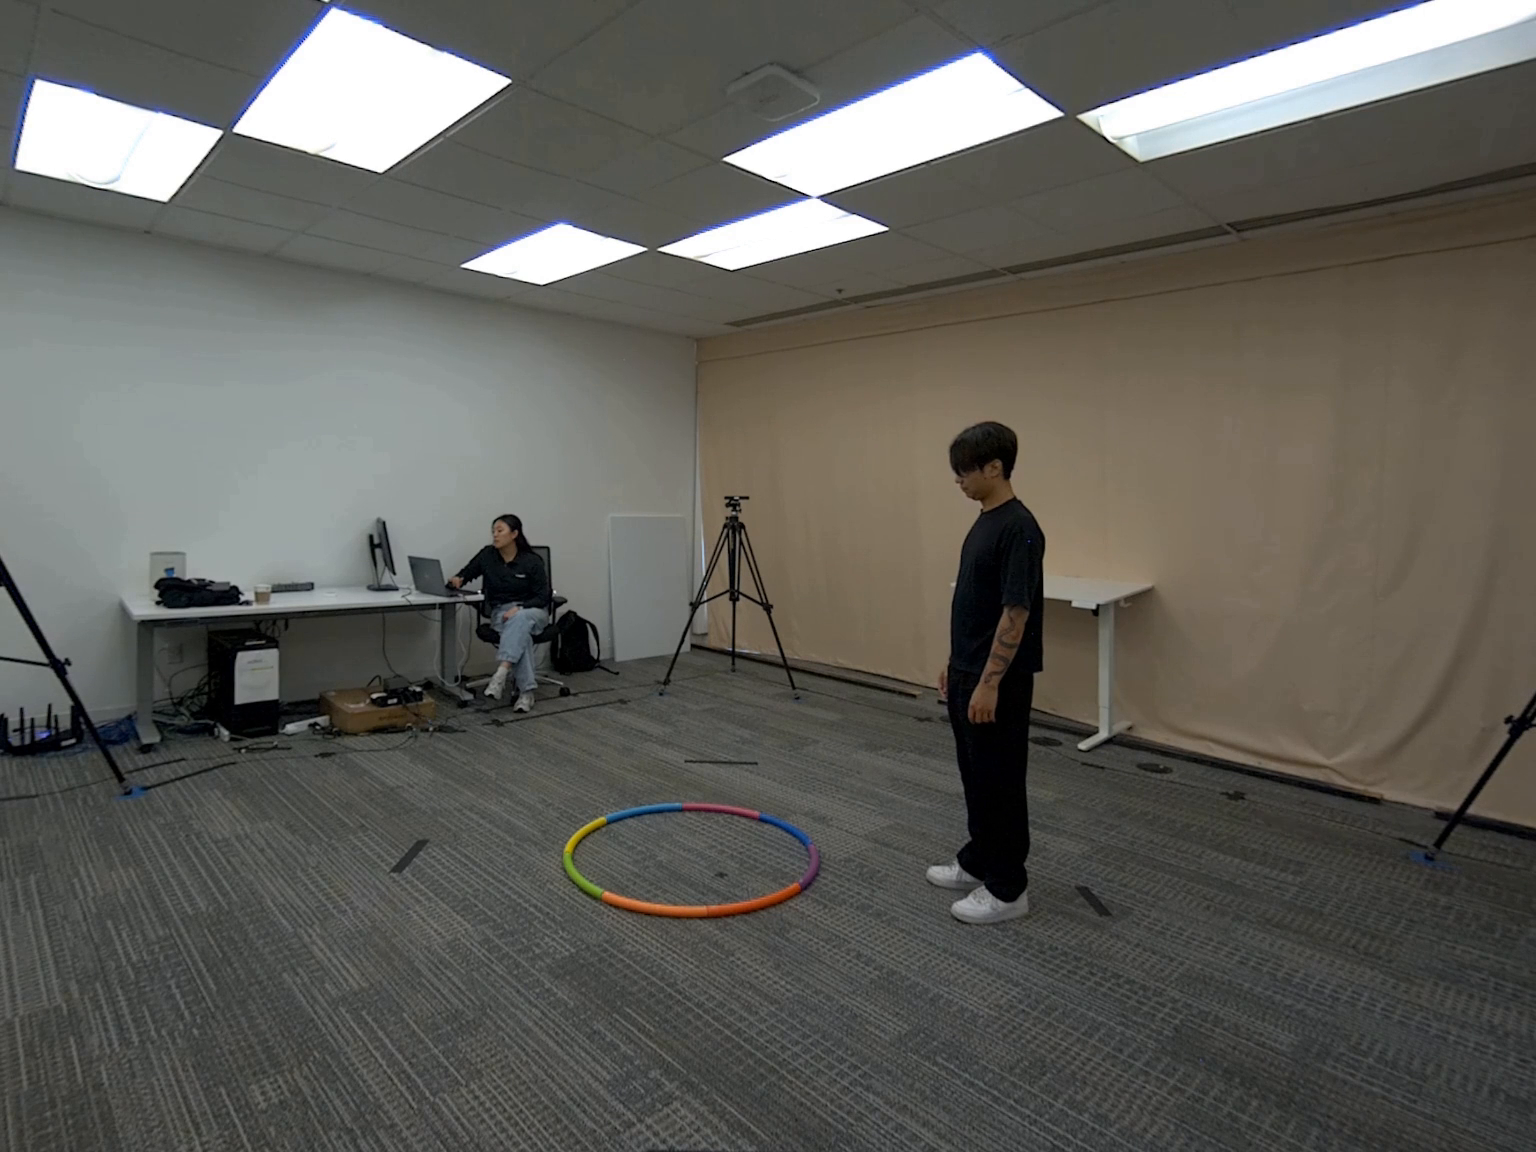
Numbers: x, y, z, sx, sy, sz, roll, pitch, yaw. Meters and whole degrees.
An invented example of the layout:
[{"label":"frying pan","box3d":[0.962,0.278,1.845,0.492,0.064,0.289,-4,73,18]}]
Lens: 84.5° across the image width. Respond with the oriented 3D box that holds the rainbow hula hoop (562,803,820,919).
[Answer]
[{"label":"rainbow hula hoop","box3d":[-0.299,1.056,3.264,0.978,0.035,0.982,2,5,-1]}]
